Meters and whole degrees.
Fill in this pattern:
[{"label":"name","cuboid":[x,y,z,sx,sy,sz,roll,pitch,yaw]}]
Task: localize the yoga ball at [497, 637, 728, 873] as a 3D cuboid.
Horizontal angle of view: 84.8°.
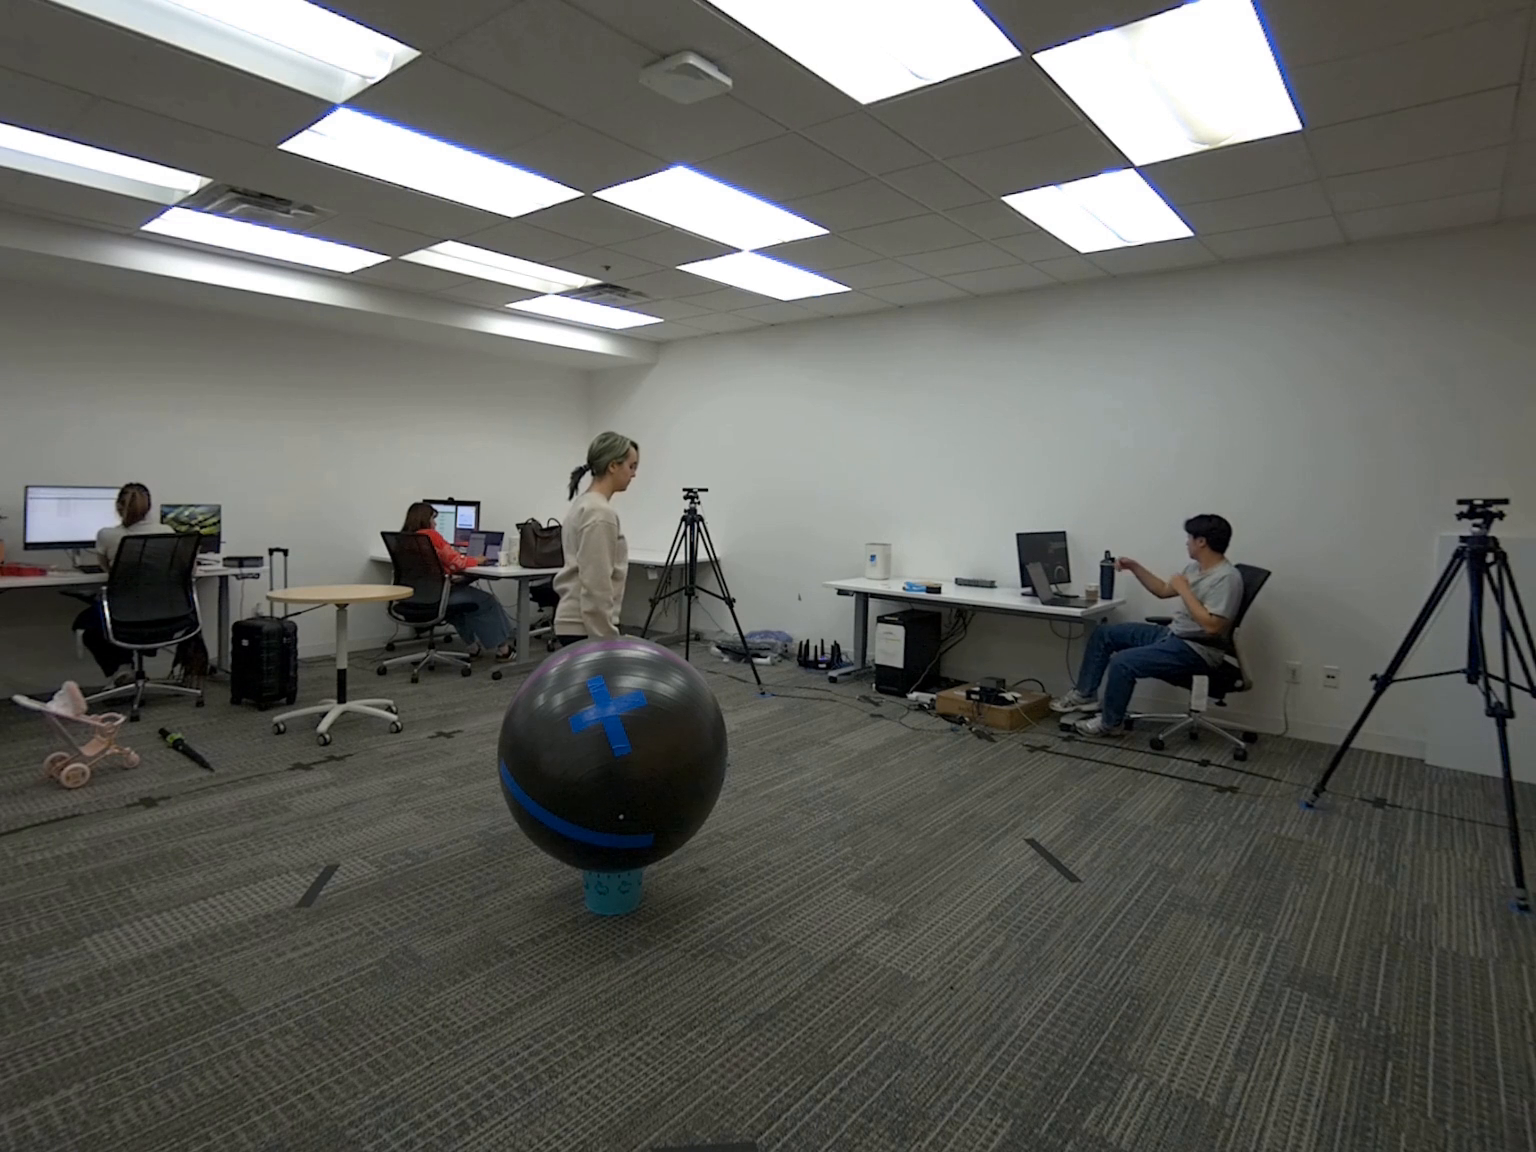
[{"label":"yoga ball","cuboid":[-0.521,0.581,2.827,0.757,0.755,0.762,1,4,-2]}]
